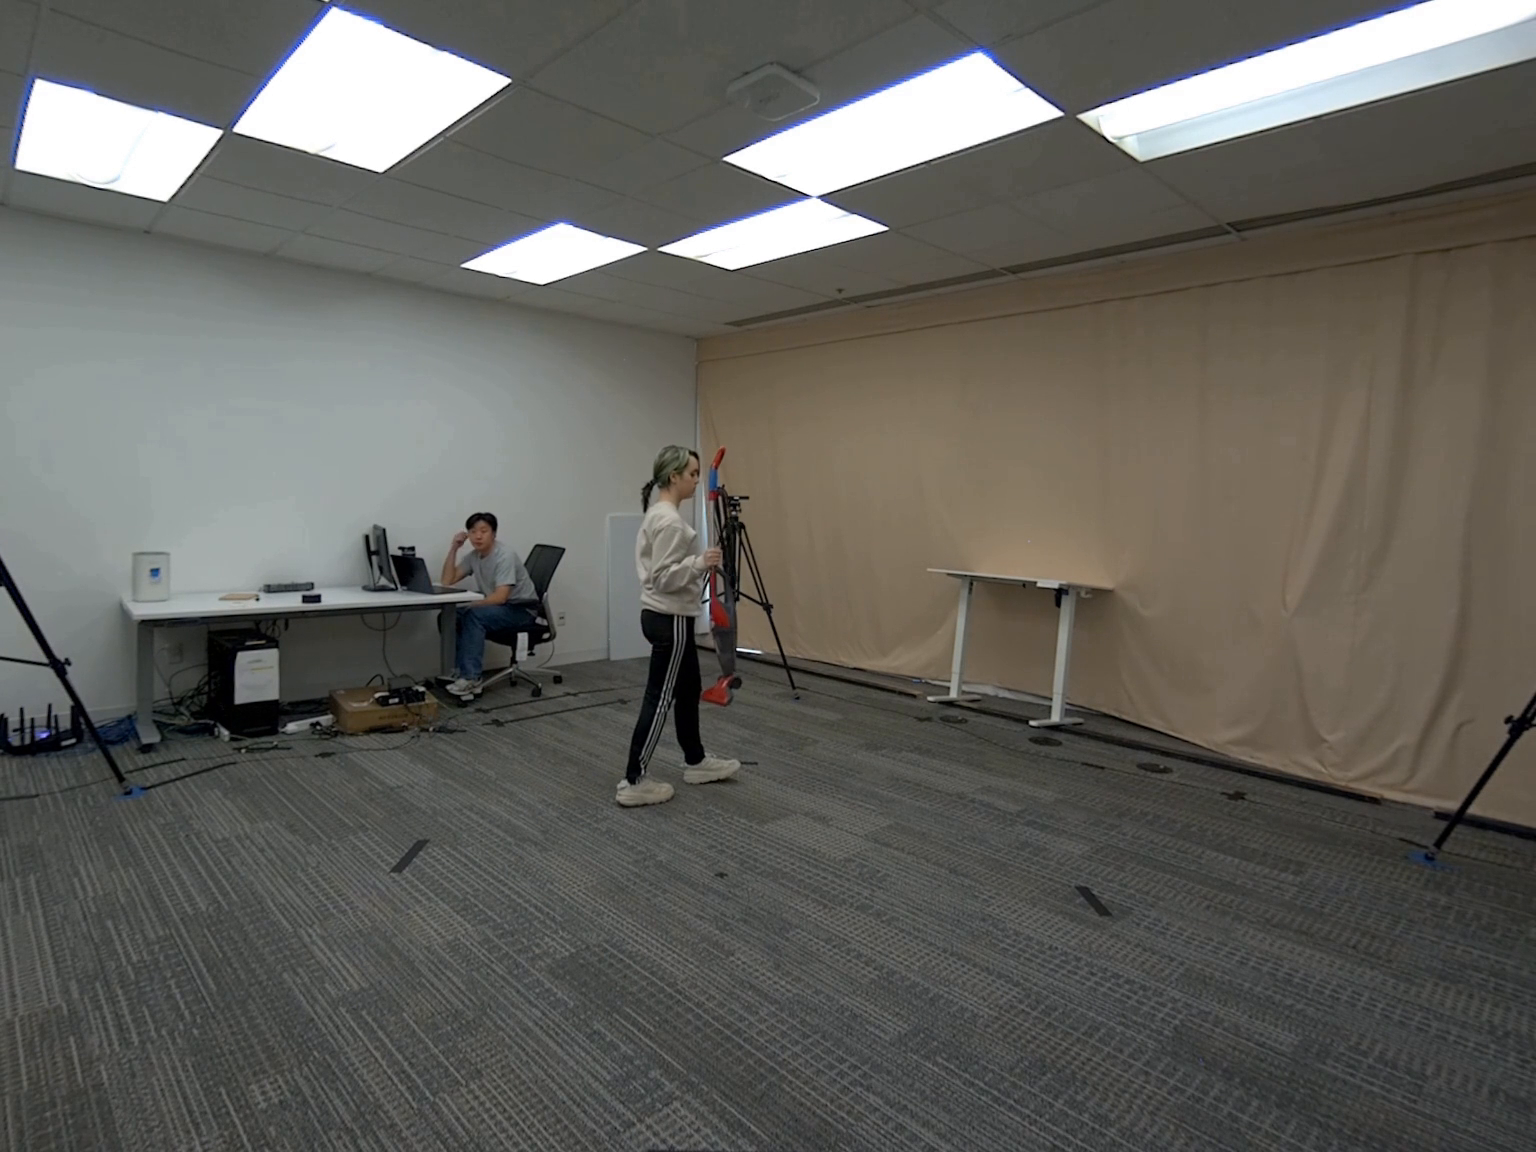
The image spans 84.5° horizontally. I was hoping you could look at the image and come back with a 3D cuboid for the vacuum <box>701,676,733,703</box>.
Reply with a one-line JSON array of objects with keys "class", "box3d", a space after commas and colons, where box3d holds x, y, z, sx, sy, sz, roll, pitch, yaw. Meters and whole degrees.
[{"class": "vacuum", "box3d": [-0.198, -0.033, 3.644, 0.258, 1.053, 0.140, -4, -5, 36]}]
